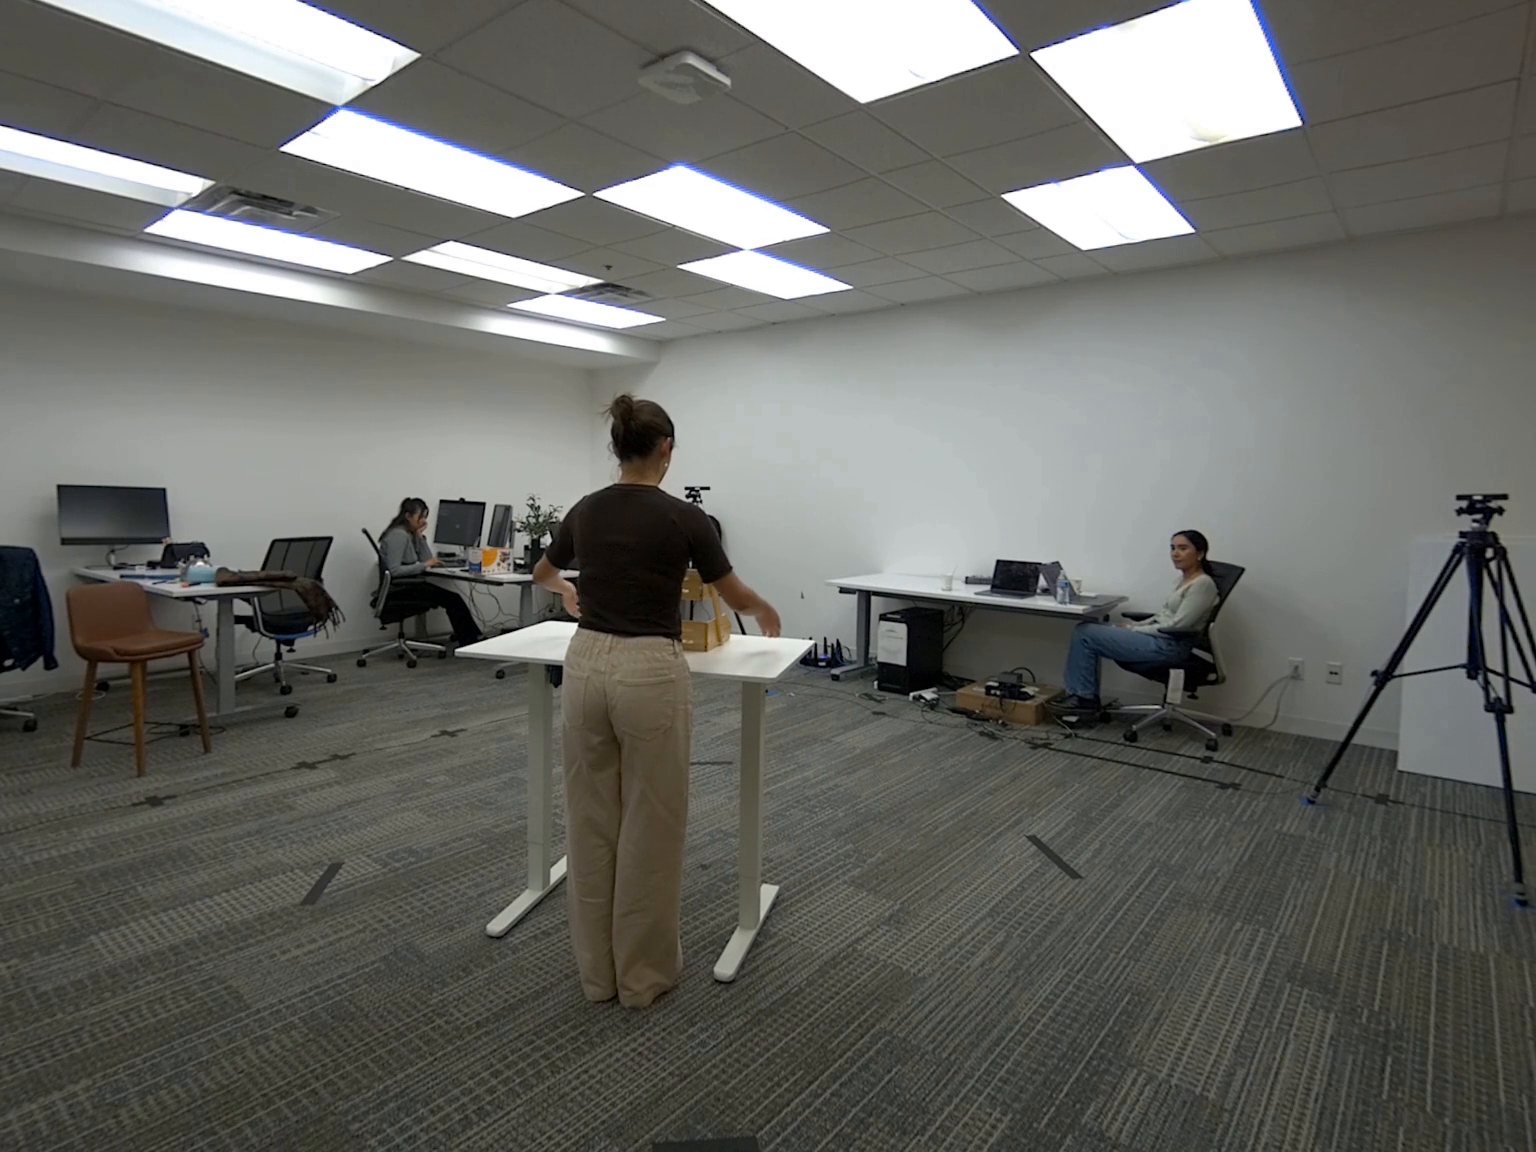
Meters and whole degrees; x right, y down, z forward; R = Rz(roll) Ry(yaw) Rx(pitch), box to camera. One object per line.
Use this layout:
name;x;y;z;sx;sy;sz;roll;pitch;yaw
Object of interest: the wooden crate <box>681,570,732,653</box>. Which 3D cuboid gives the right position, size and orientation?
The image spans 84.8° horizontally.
wooden crate;-0.317;0.087;2.764;0.331;0.272;0.298;2;5;17
